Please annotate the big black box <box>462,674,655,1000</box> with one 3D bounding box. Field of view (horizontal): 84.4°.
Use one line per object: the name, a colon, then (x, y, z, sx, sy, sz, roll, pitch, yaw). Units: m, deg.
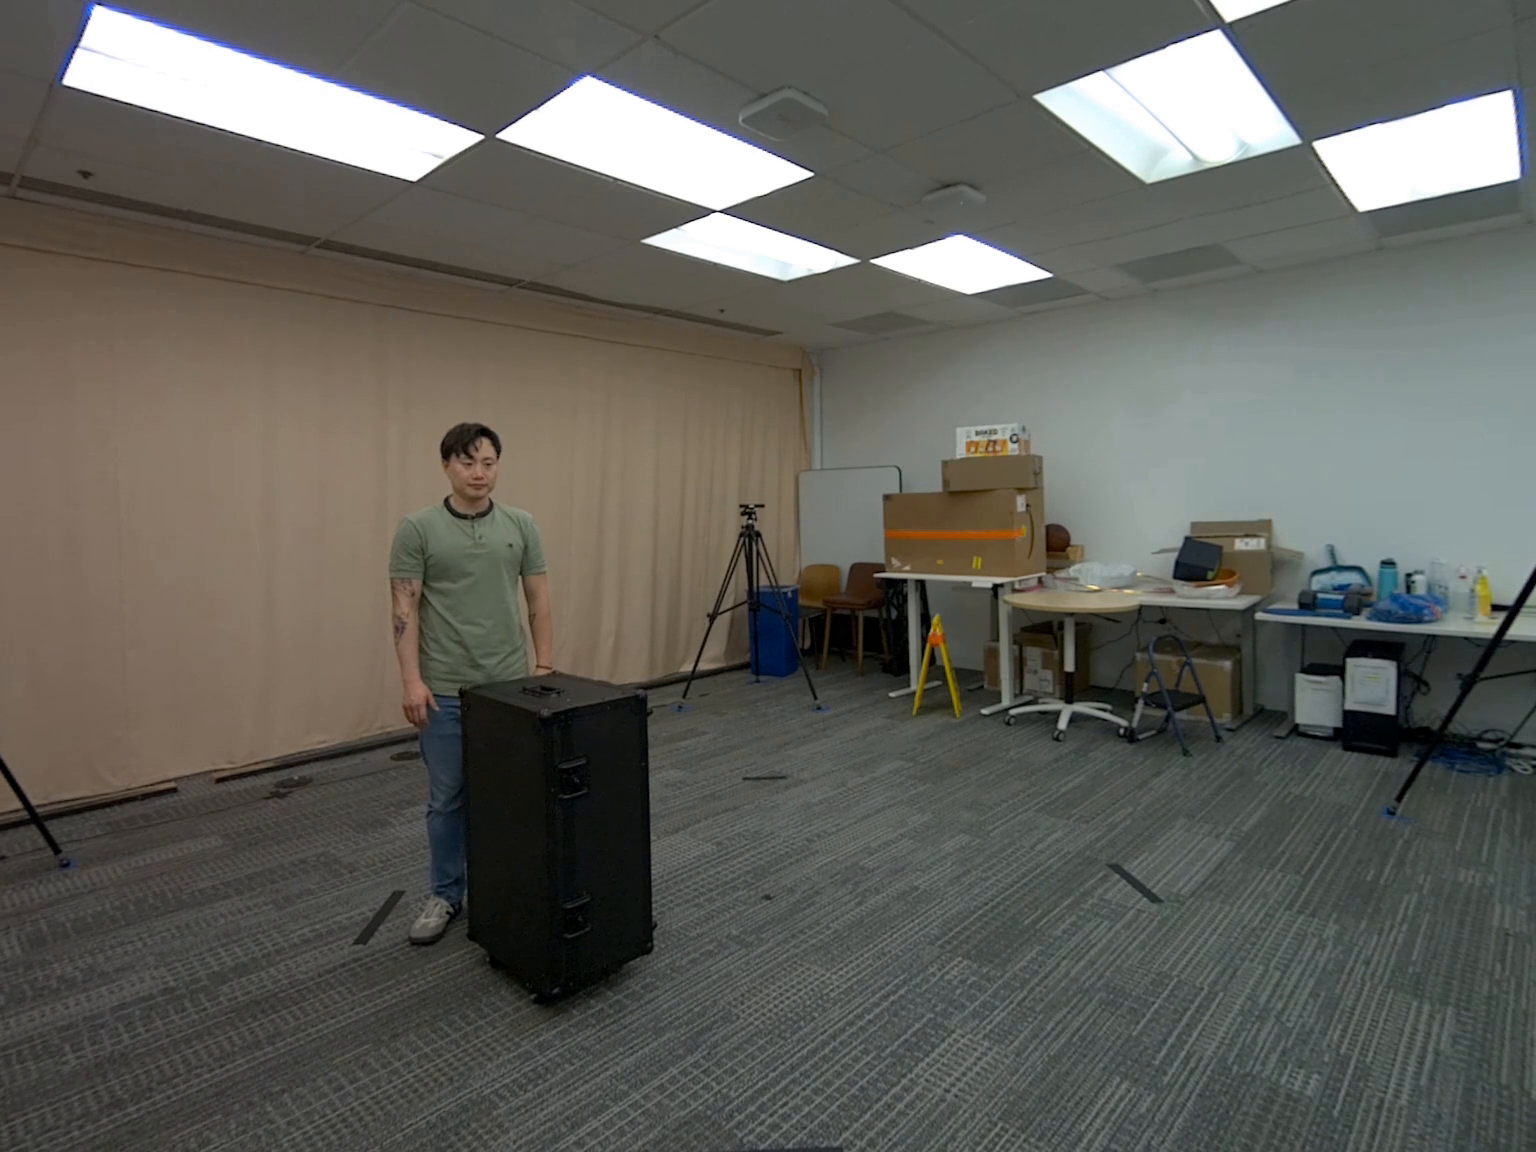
big black box: (-0.631, 0.768, 2.537, 0.538, 0.860, 0.384, 2, 3, 45)
